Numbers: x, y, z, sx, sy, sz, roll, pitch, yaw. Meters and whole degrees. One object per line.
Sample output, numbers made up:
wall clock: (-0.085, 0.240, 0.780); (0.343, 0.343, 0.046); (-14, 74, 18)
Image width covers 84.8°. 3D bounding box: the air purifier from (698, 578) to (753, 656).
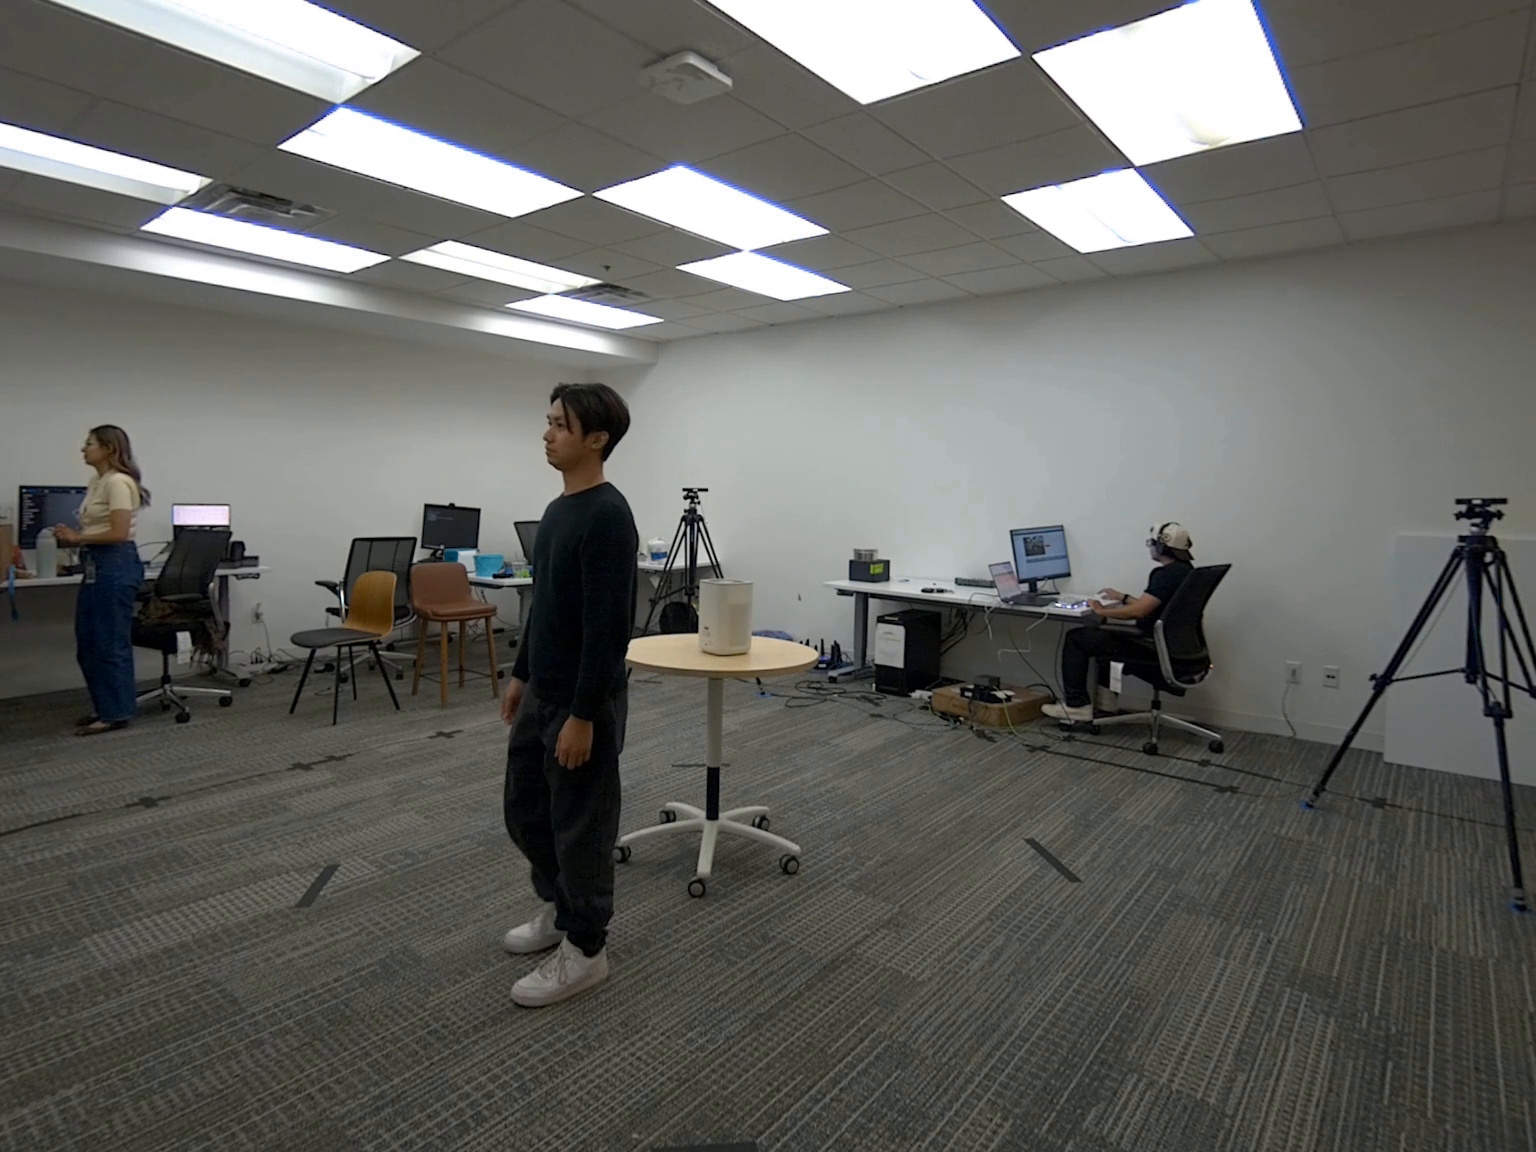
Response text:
air purifier: (-0.164, 0.145, 3.159); (0.166, 0.265, 0.177); (1, 3, -39)
